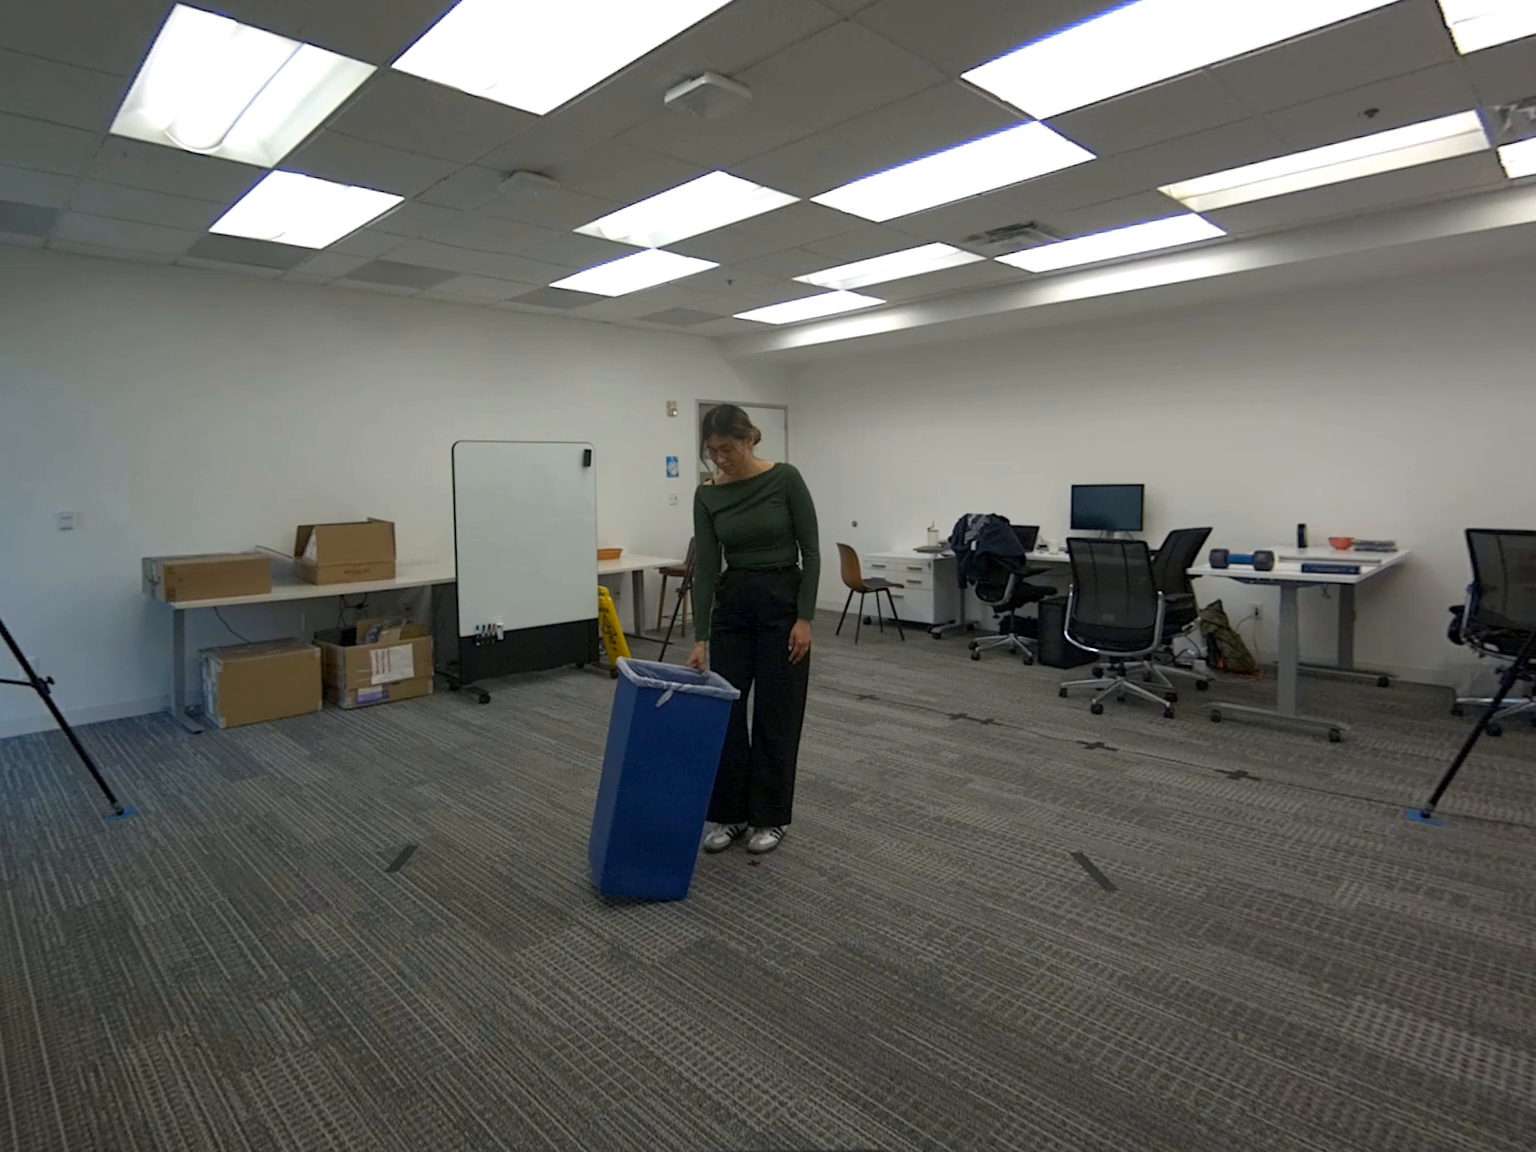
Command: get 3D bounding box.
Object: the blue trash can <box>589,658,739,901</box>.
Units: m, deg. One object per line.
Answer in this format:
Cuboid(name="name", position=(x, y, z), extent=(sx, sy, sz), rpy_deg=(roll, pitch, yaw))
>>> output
Cuboid(name="blue trash can", position=(-0.394, 0.690, 2.931), extent=(0.366, 0.714, 0.386), rpy_deg=(12, 0, -21))
